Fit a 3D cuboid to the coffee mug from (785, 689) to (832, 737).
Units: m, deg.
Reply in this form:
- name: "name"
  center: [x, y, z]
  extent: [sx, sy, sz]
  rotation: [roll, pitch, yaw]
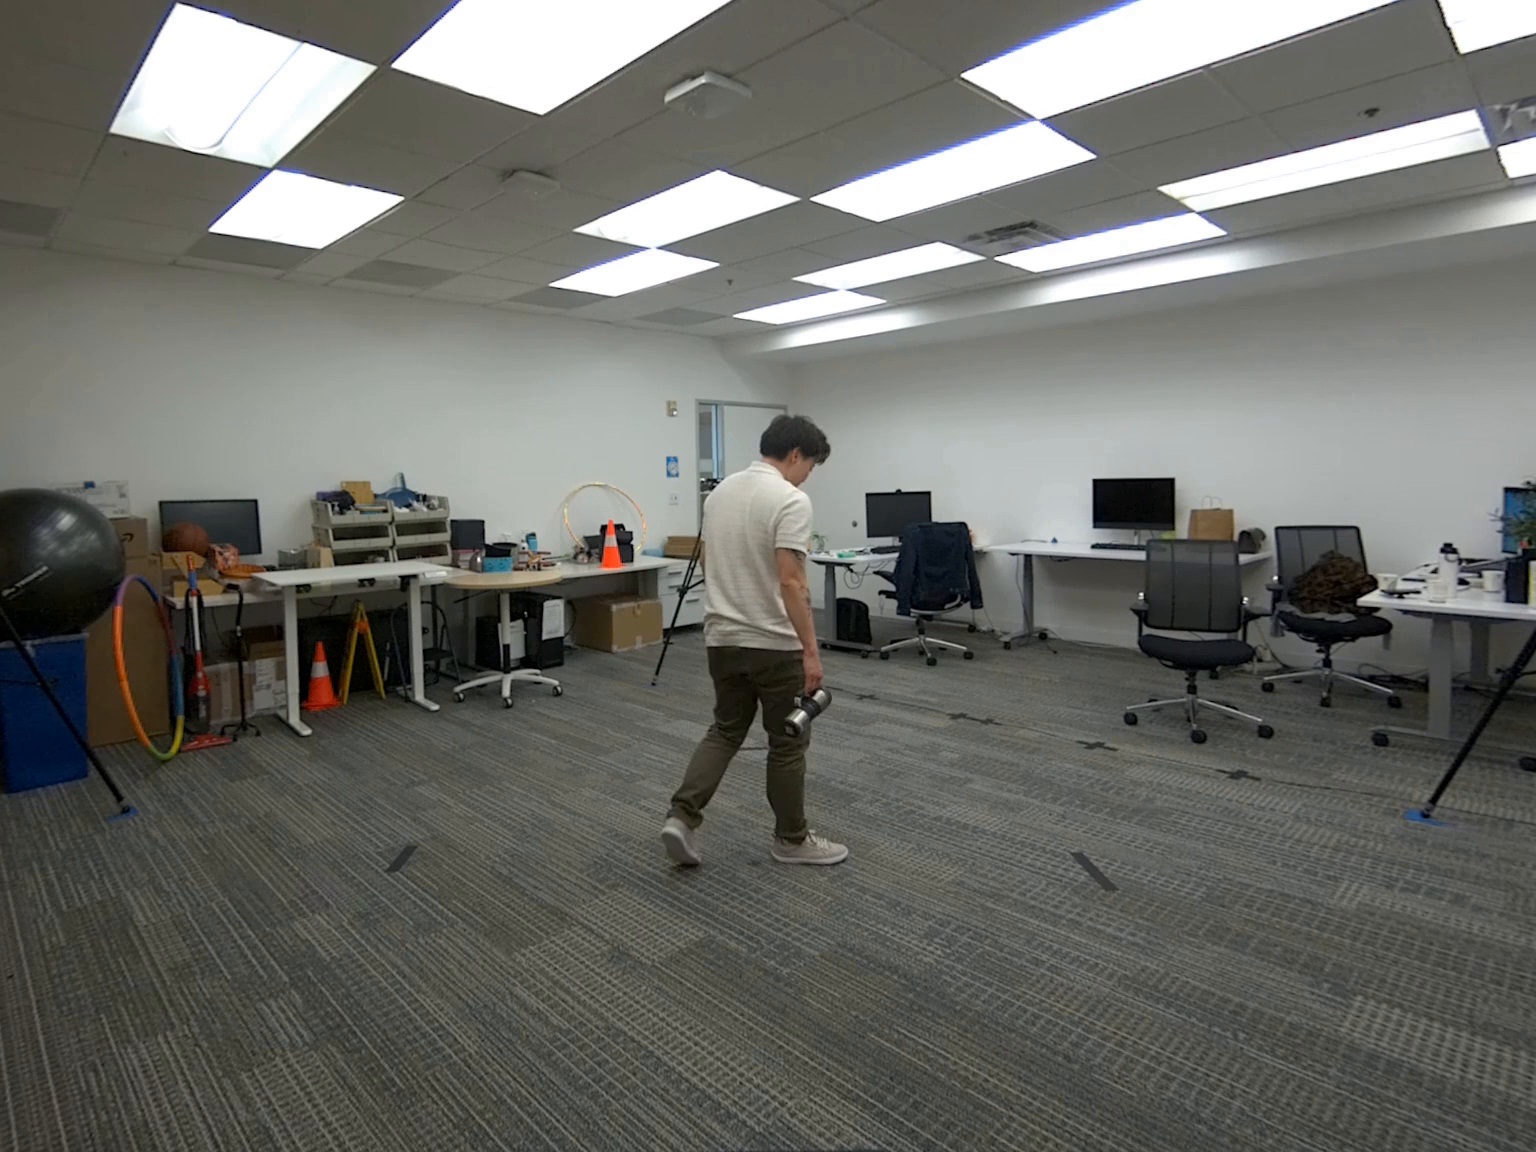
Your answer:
- name: "coffee mug"
  center: [0.115, 0.434, 2.840]
  extent: [0.090, 0.120, 0.201]
  rotation: [-14, 18, 47]
